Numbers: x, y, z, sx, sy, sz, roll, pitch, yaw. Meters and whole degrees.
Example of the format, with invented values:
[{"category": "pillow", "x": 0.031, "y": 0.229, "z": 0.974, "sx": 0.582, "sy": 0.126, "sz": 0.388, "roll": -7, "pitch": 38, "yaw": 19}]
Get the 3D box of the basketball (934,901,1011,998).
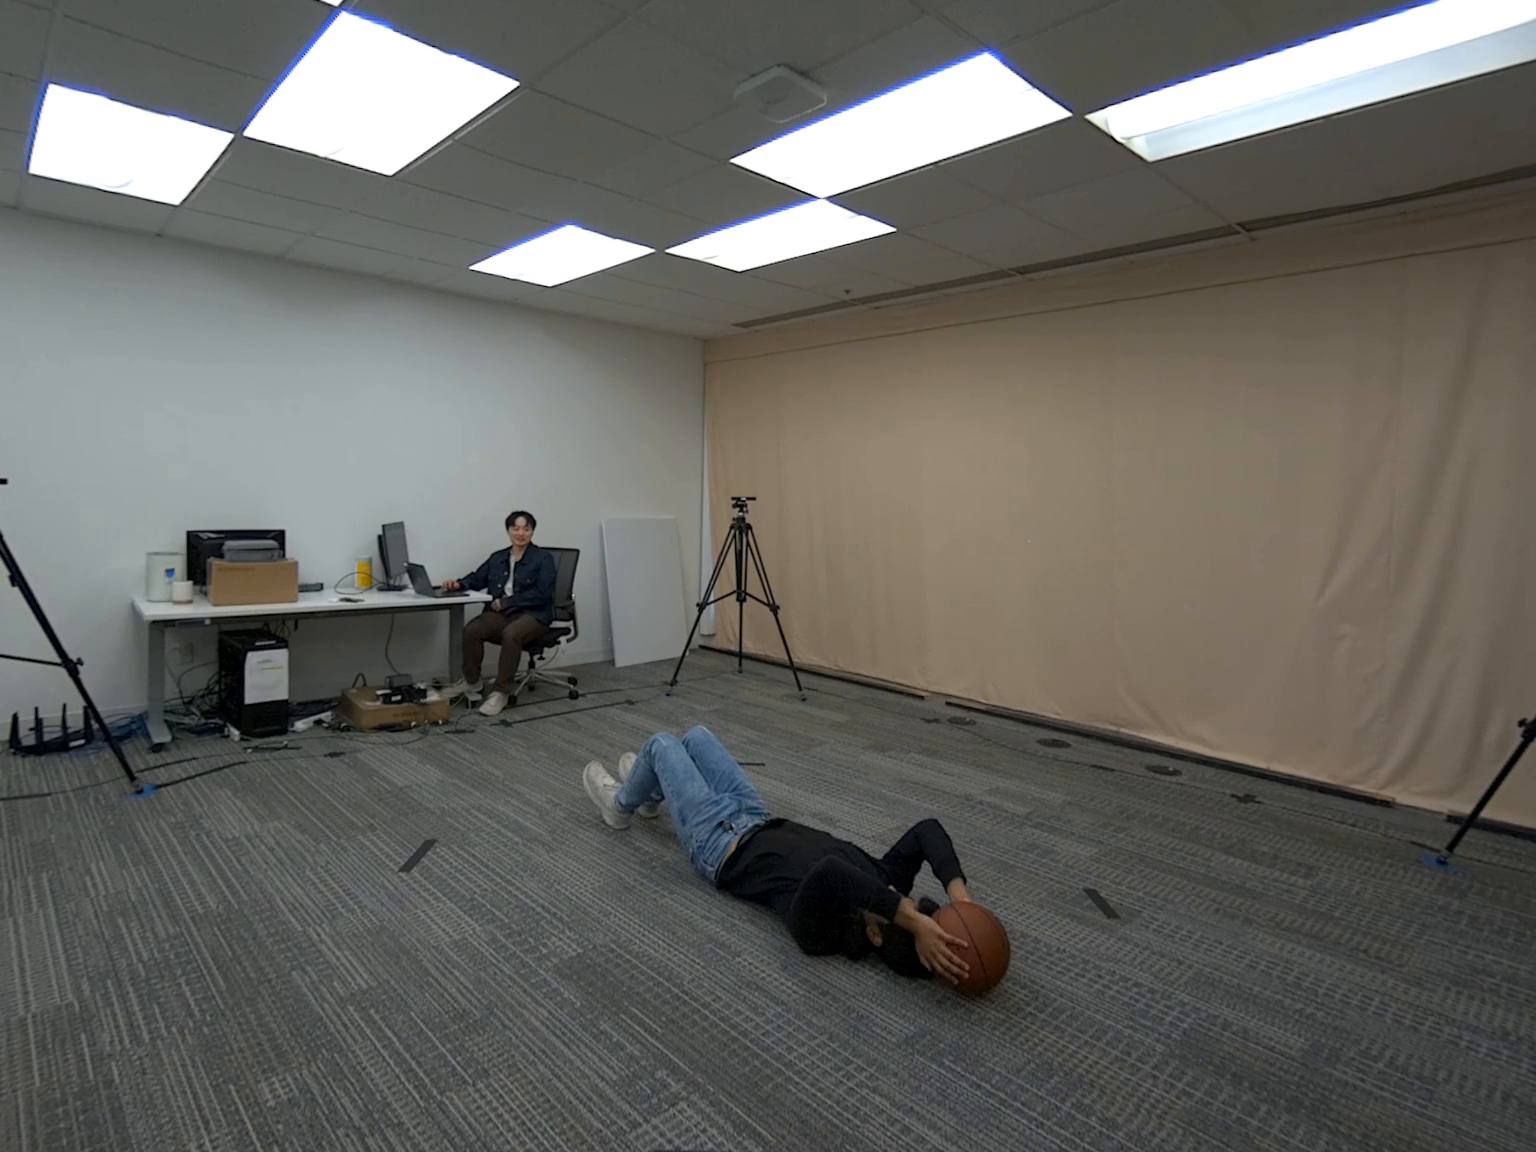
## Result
[{"category": "basketball", "x": 0.554, "y": 1.034, "z": 2.400, "sx": 0.236, "sy": 0.235, "sz": 0.237, "roll": 1, "pitch": 4, "yaw": -1}]
